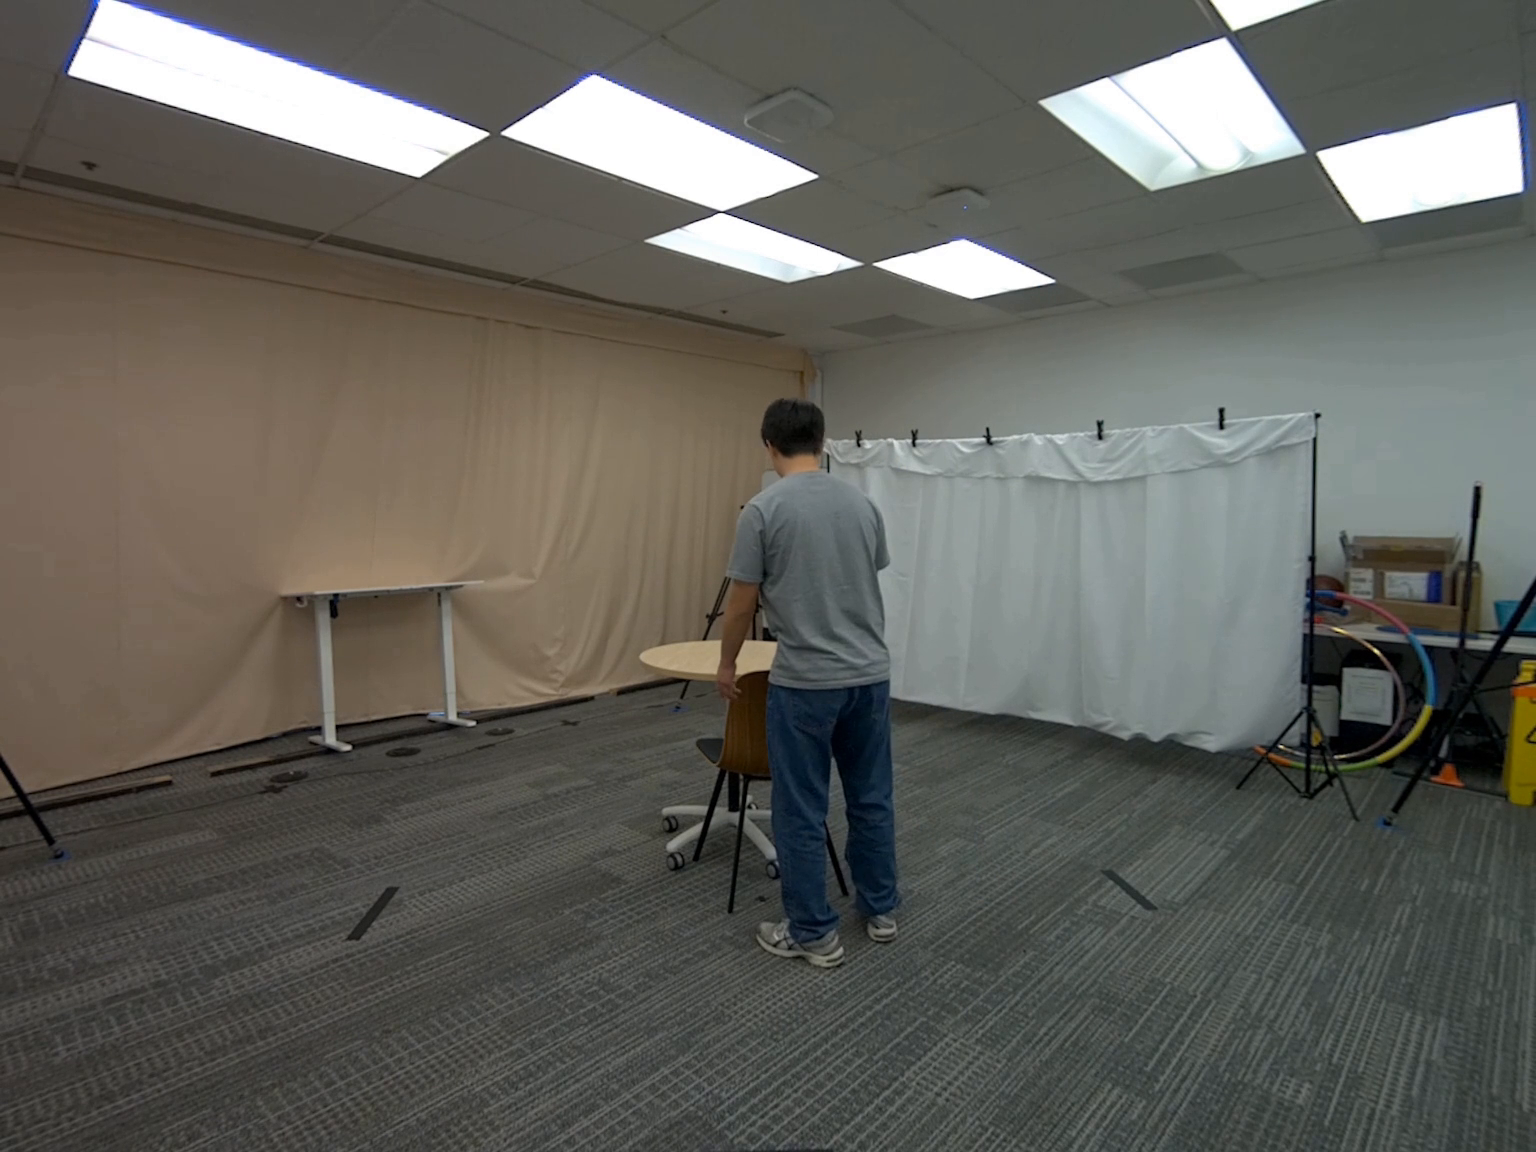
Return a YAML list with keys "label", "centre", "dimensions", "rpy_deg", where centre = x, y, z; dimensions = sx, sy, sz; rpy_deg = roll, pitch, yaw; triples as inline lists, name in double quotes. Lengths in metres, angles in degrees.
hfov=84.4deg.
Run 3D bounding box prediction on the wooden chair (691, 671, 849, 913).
- label: "wooden chair"
  centre: [-0.005, 0.701, 3.123]
  dimensions: [0.469, 0.873, 0.535]
  rpy_deg: [-1, 7, -20]
